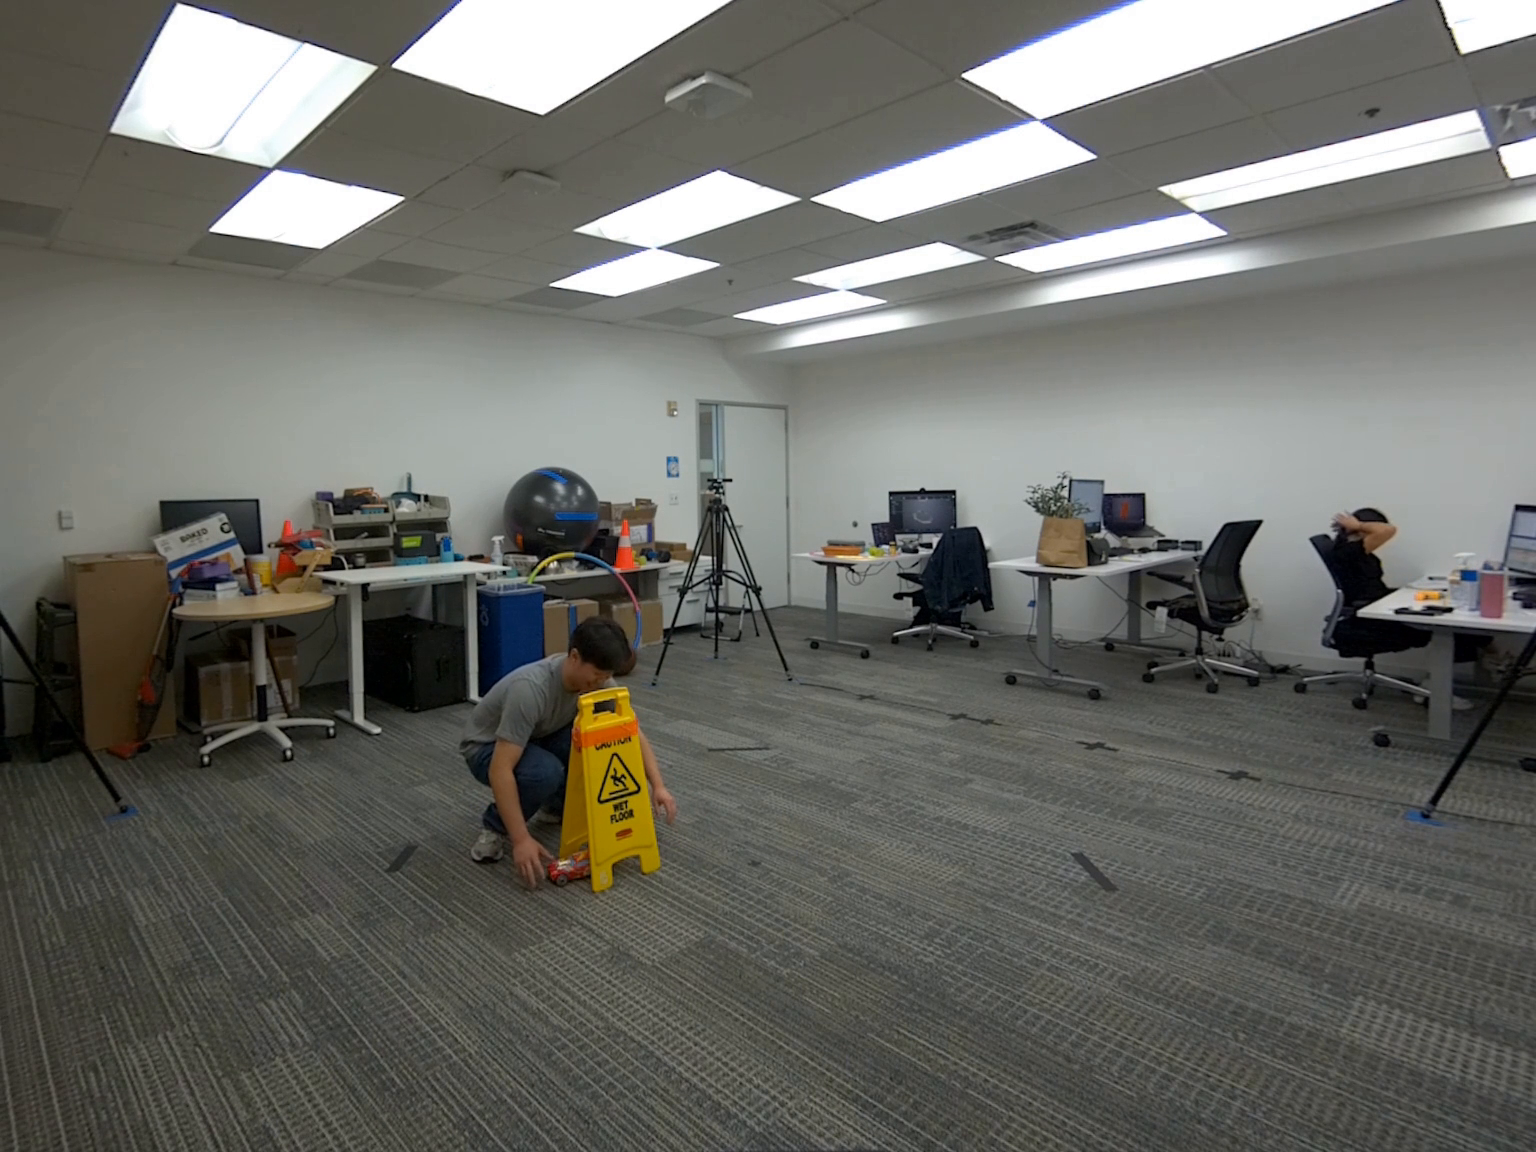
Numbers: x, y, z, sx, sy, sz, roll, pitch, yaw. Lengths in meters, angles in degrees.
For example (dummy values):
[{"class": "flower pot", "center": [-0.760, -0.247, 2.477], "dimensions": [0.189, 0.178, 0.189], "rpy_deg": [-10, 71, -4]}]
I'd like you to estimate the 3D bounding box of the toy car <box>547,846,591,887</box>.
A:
[{"class": "toy car", "center": [-0.652, 1.046, 3.050], "dimensions": [0.250, 0.082, 0.134], "rpy_deg": [-11, 14, -24]}]
